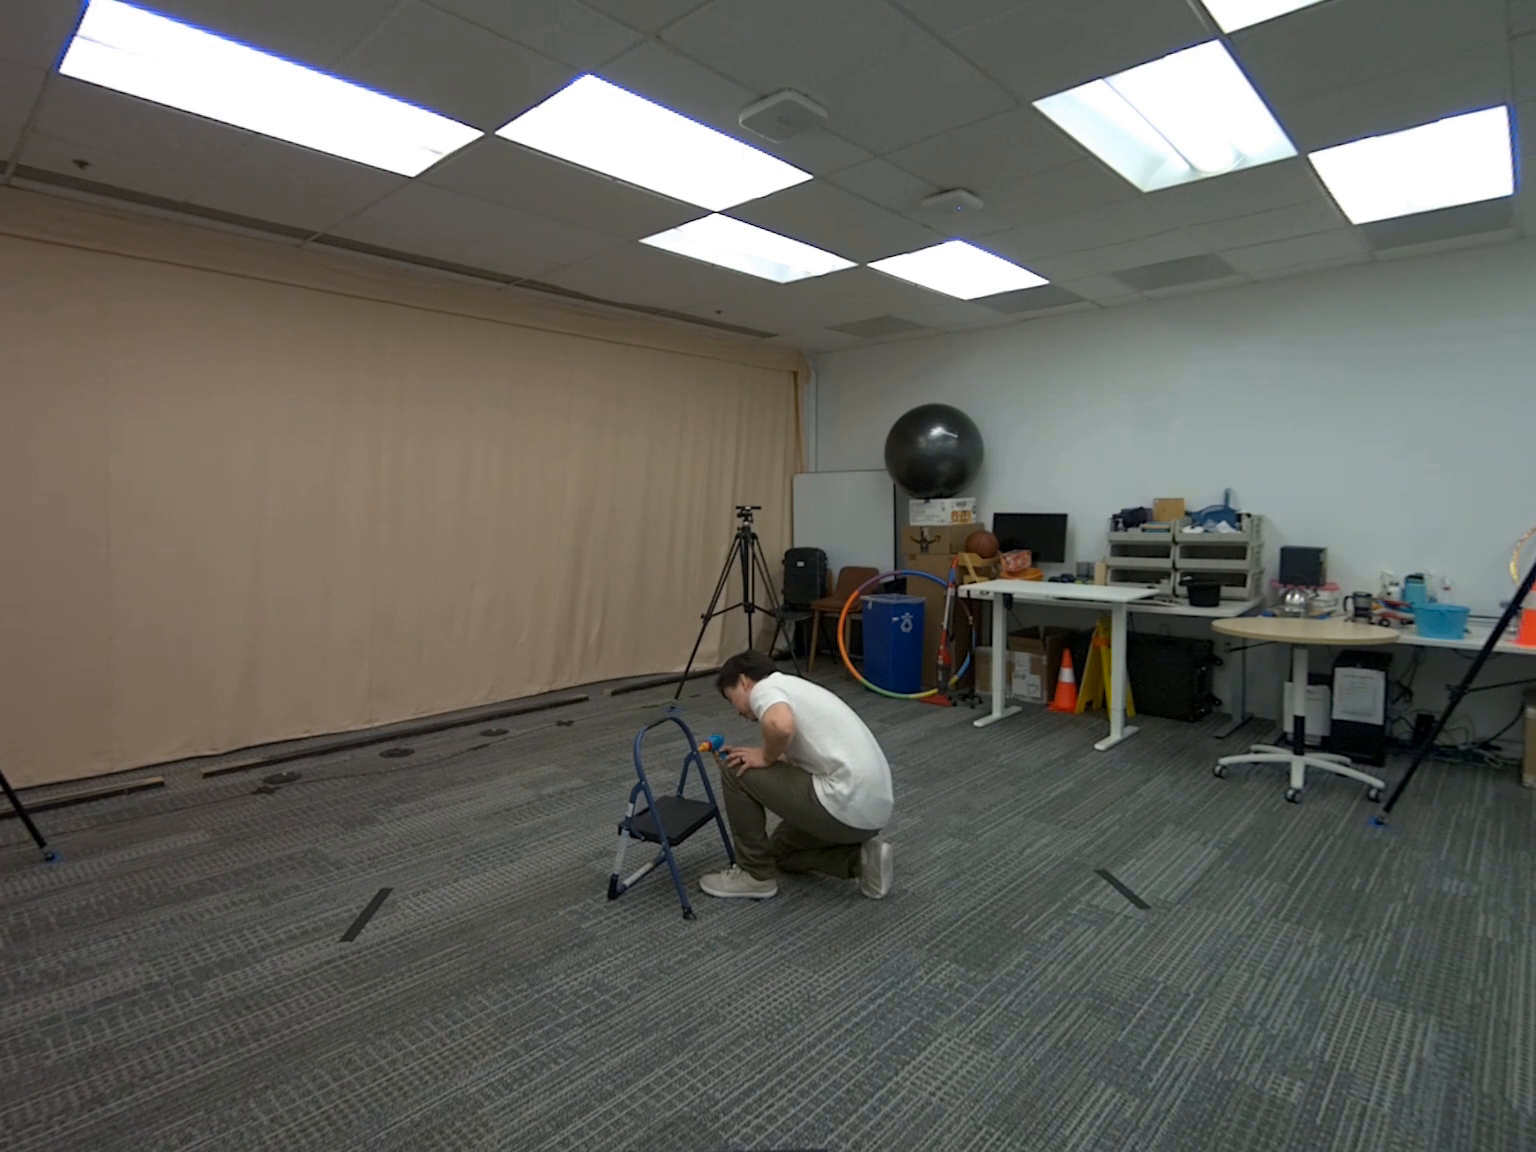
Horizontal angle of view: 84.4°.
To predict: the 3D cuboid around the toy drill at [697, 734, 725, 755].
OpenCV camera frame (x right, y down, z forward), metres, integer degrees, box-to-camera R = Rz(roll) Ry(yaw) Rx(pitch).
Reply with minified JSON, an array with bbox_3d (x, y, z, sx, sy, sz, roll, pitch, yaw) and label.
[{"bbox_3d":[-0.198,0.697,3.338,0.149,0.061,0.165,49,29,18],"label":"toy drill"}]
